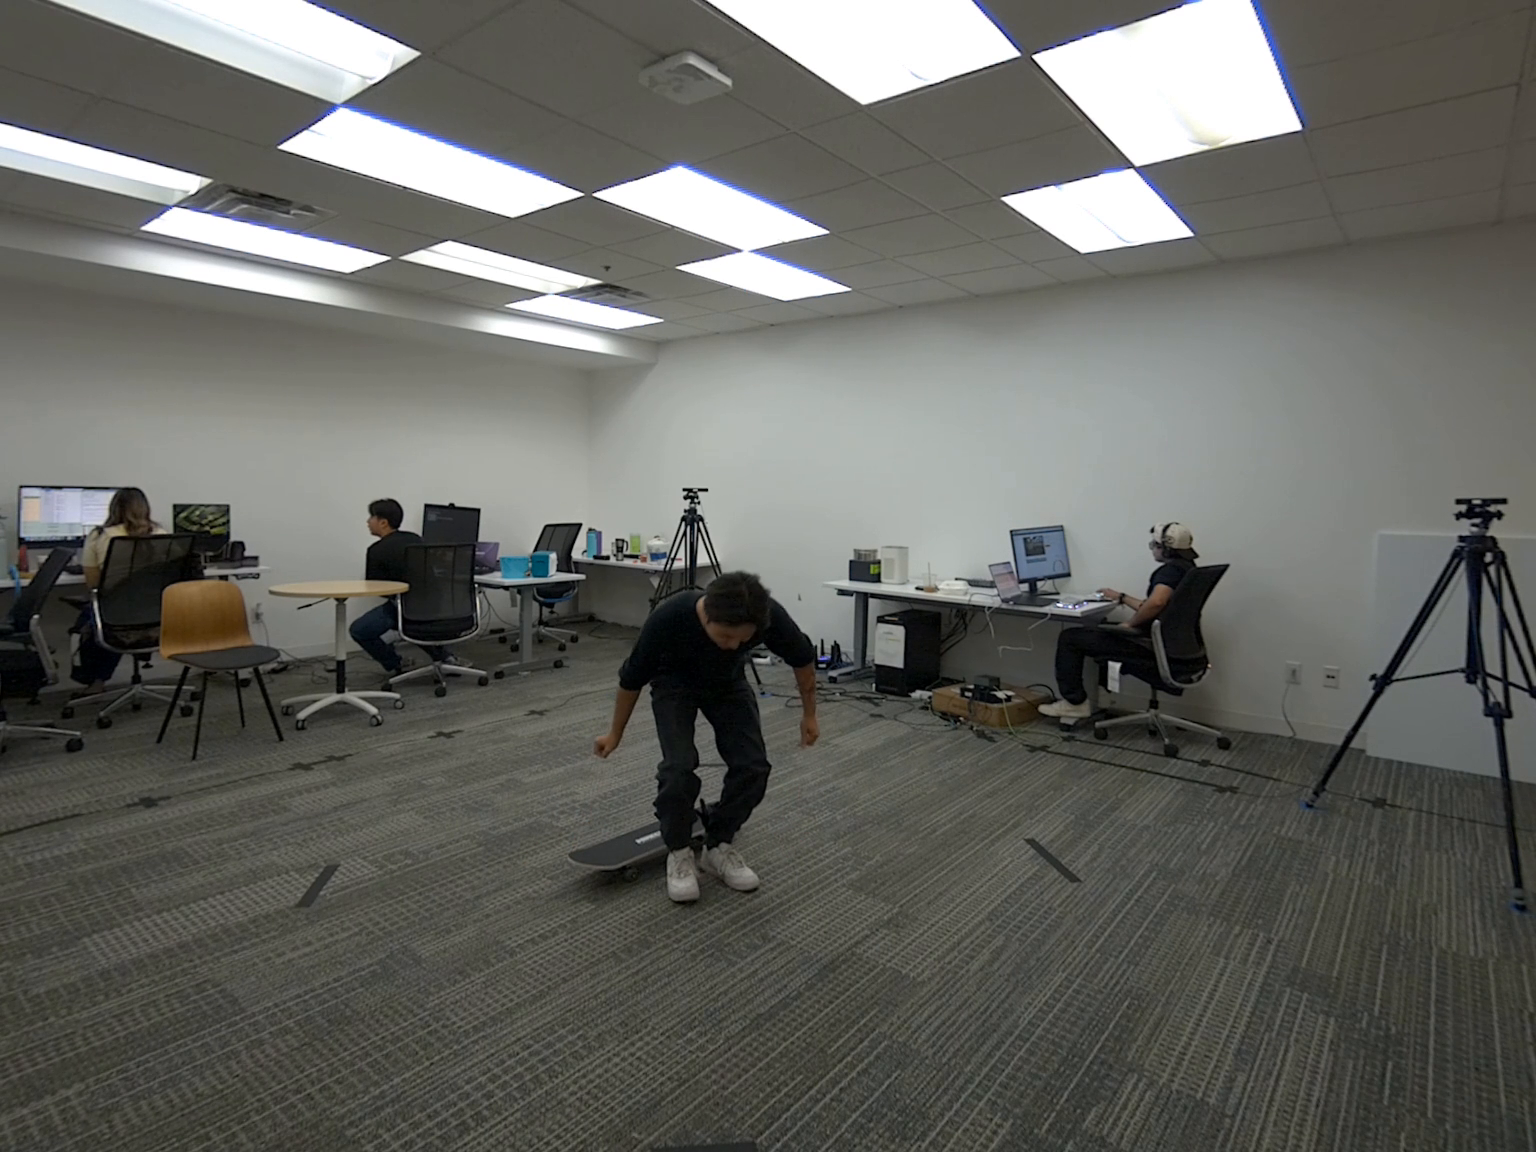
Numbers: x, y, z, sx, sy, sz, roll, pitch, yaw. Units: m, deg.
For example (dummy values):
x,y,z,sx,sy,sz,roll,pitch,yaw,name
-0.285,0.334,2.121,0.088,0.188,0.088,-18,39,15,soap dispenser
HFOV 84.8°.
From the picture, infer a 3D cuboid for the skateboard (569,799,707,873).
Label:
x,y,z,sx,sy,sz,roll,pitch,yaw,name
-0.421,1.000,3.199,0.200,0.110,0.762,5,6,41,skateboard
